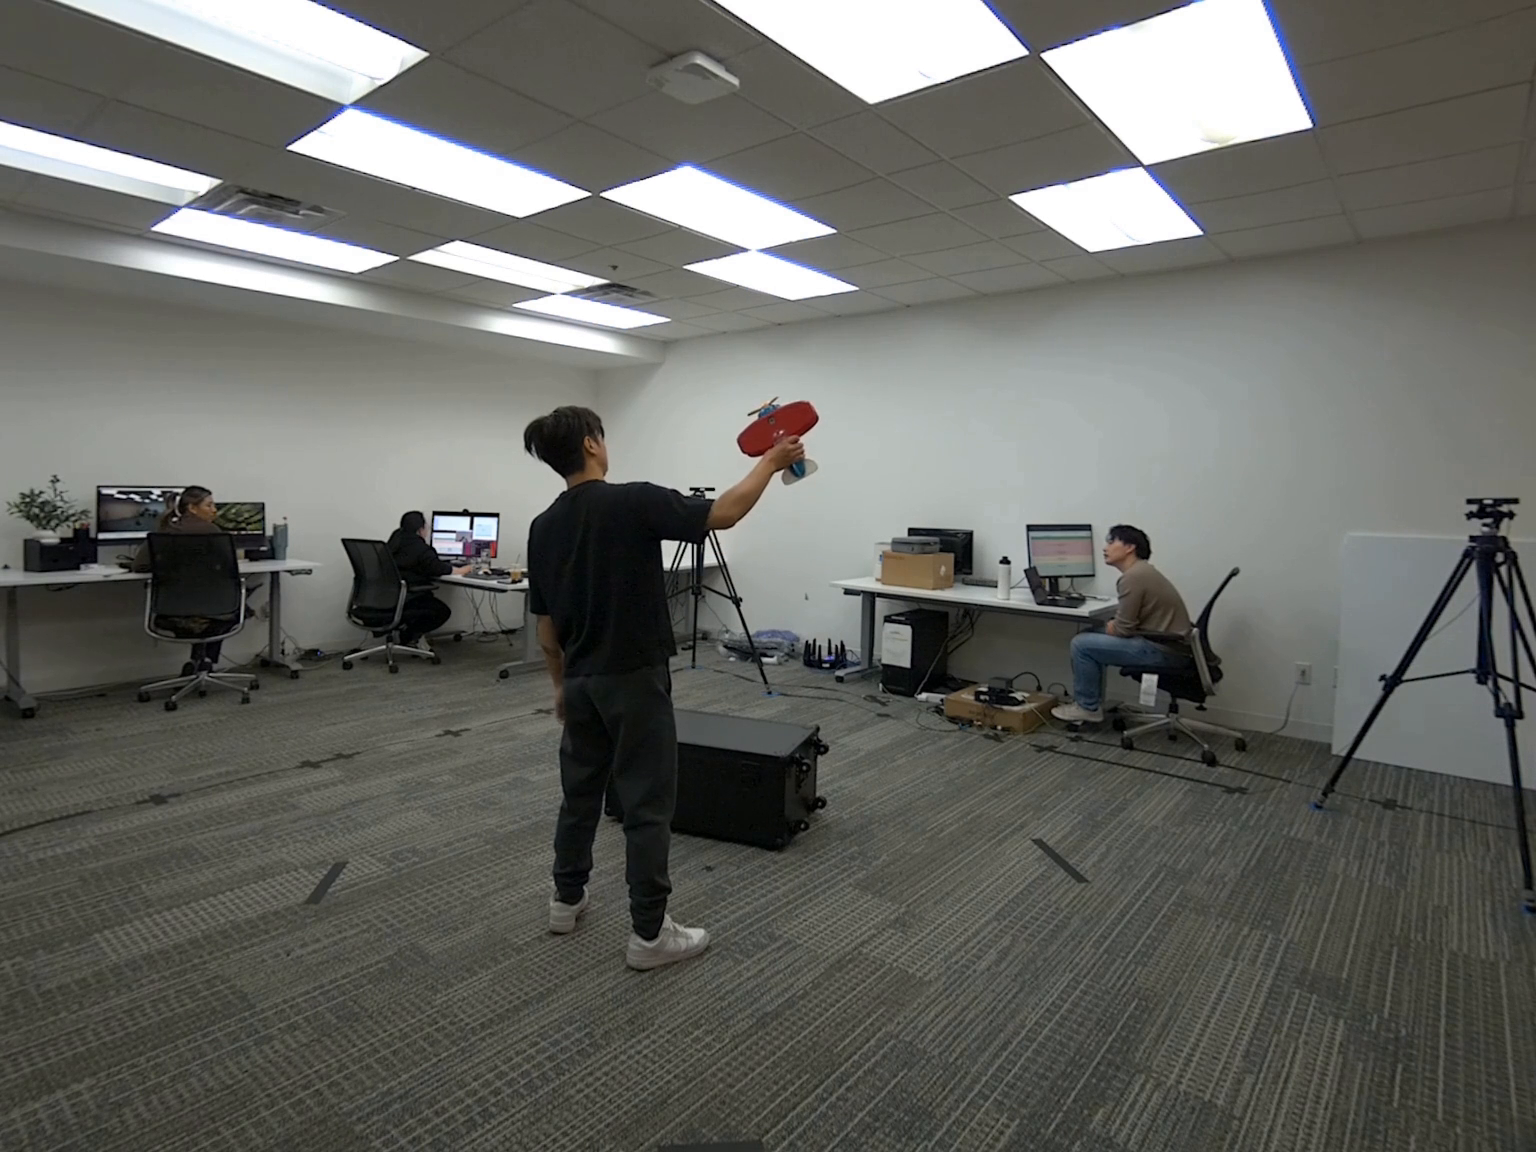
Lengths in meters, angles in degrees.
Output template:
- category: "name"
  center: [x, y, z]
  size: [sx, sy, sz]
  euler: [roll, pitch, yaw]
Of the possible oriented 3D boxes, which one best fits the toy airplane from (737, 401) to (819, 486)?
- category: "toy airplane"
  center: [0.055, -0.431, 2.648]
  size: [0.267, 0.251, 0.151]
  euler: [37, 2, 23]
